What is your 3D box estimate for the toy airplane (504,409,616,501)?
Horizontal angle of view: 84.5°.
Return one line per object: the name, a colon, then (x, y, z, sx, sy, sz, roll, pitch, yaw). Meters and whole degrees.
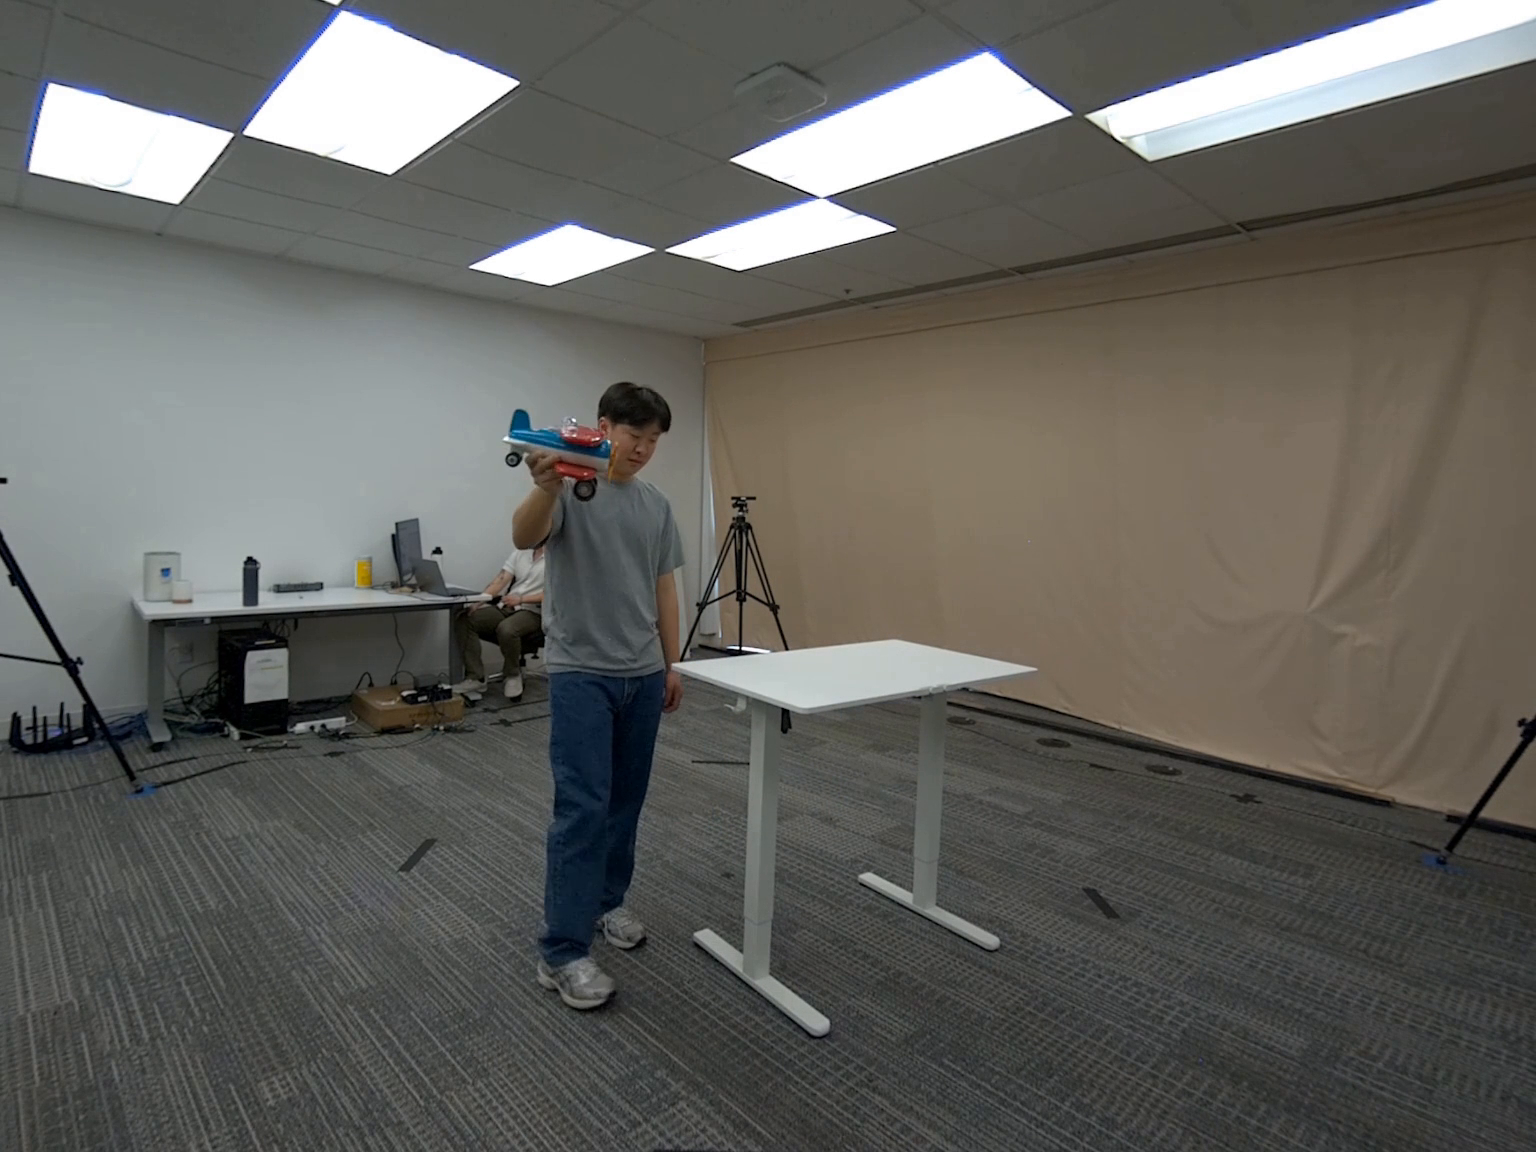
toy airplane: (-0.491, -0.283, 1.951, 0.252, 0.156, 0.259, 18, 11, -42)
